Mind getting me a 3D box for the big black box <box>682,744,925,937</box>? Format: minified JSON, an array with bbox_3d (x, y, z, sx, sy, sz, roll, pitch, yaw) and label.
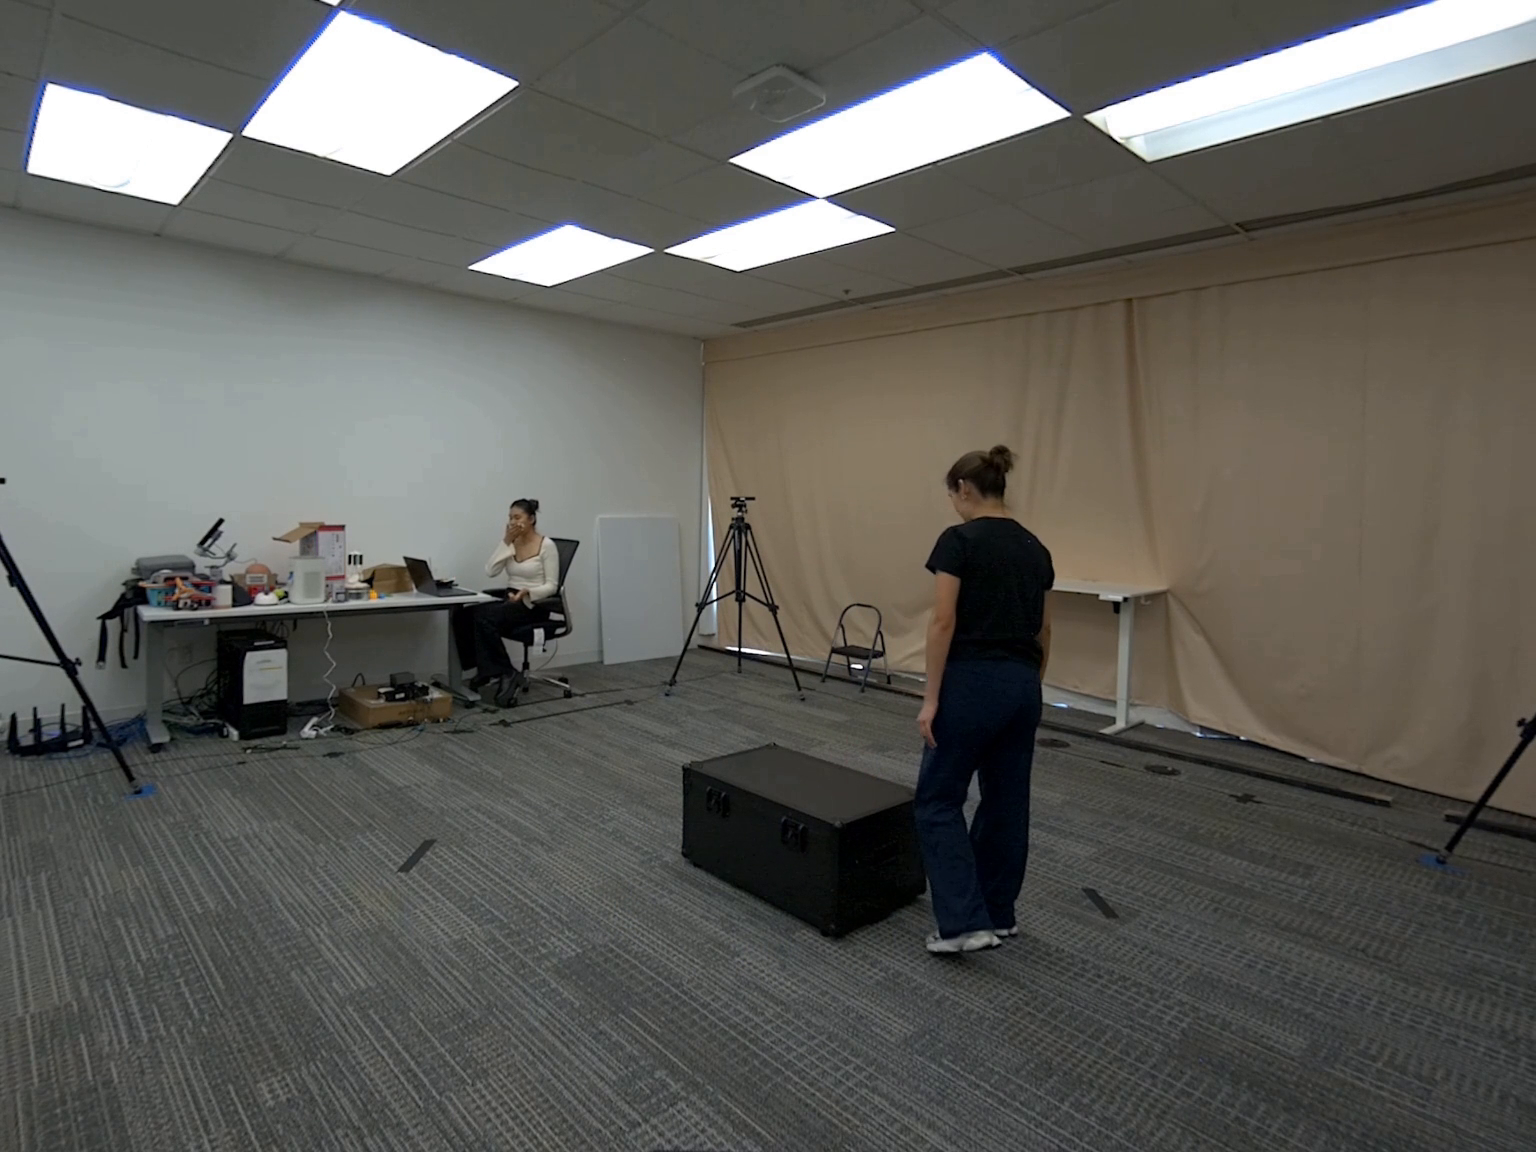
[{"bbox_3d":[0.093,0.924,3.090,0.509,0.395,0.884,-2,7,-44],"label":"big black box"}]
